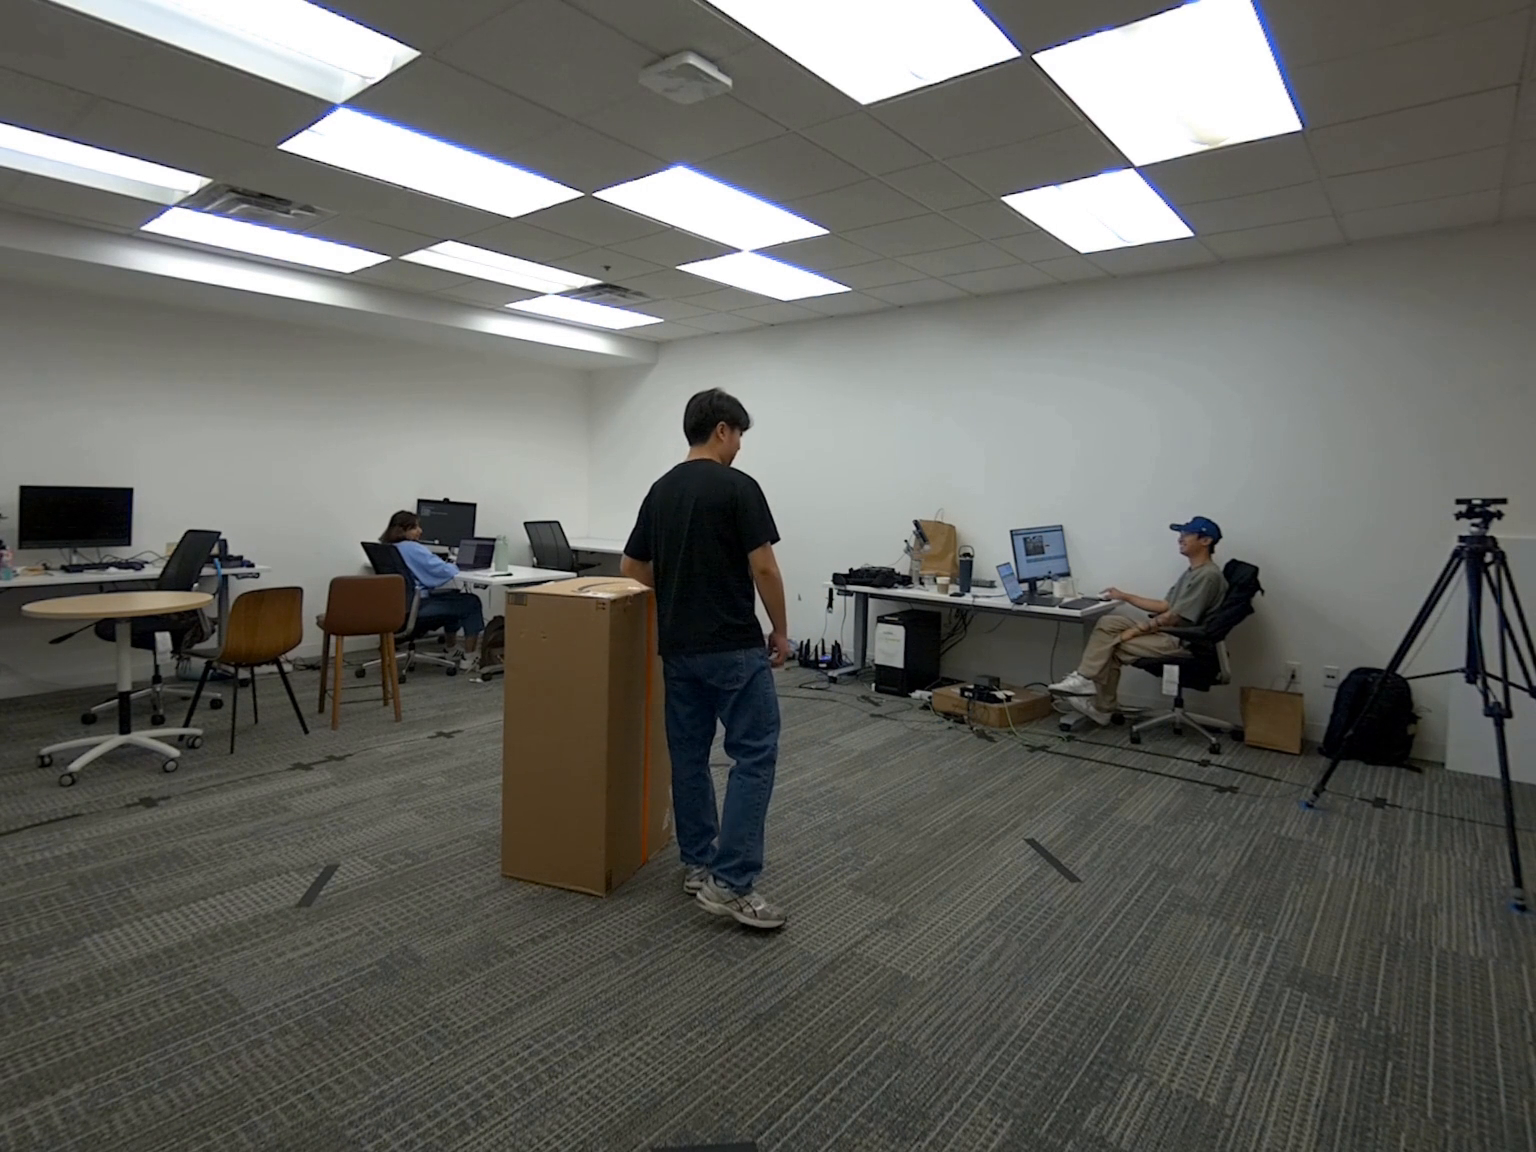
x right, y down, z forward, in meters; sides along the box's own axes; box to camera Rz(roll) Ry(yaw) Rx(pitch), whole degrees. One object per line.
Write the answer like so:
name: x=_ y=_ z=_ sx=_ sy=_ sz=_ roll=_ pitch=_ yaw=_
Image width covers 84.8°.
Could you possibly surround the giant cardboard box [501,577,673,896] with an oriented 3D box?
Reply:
giant cardboard box: x=-0.666 y=0.541 z=3.195 sx=0.457 sy=1.024 sz=0.572 roll=3 pitch=3 yaw=20
